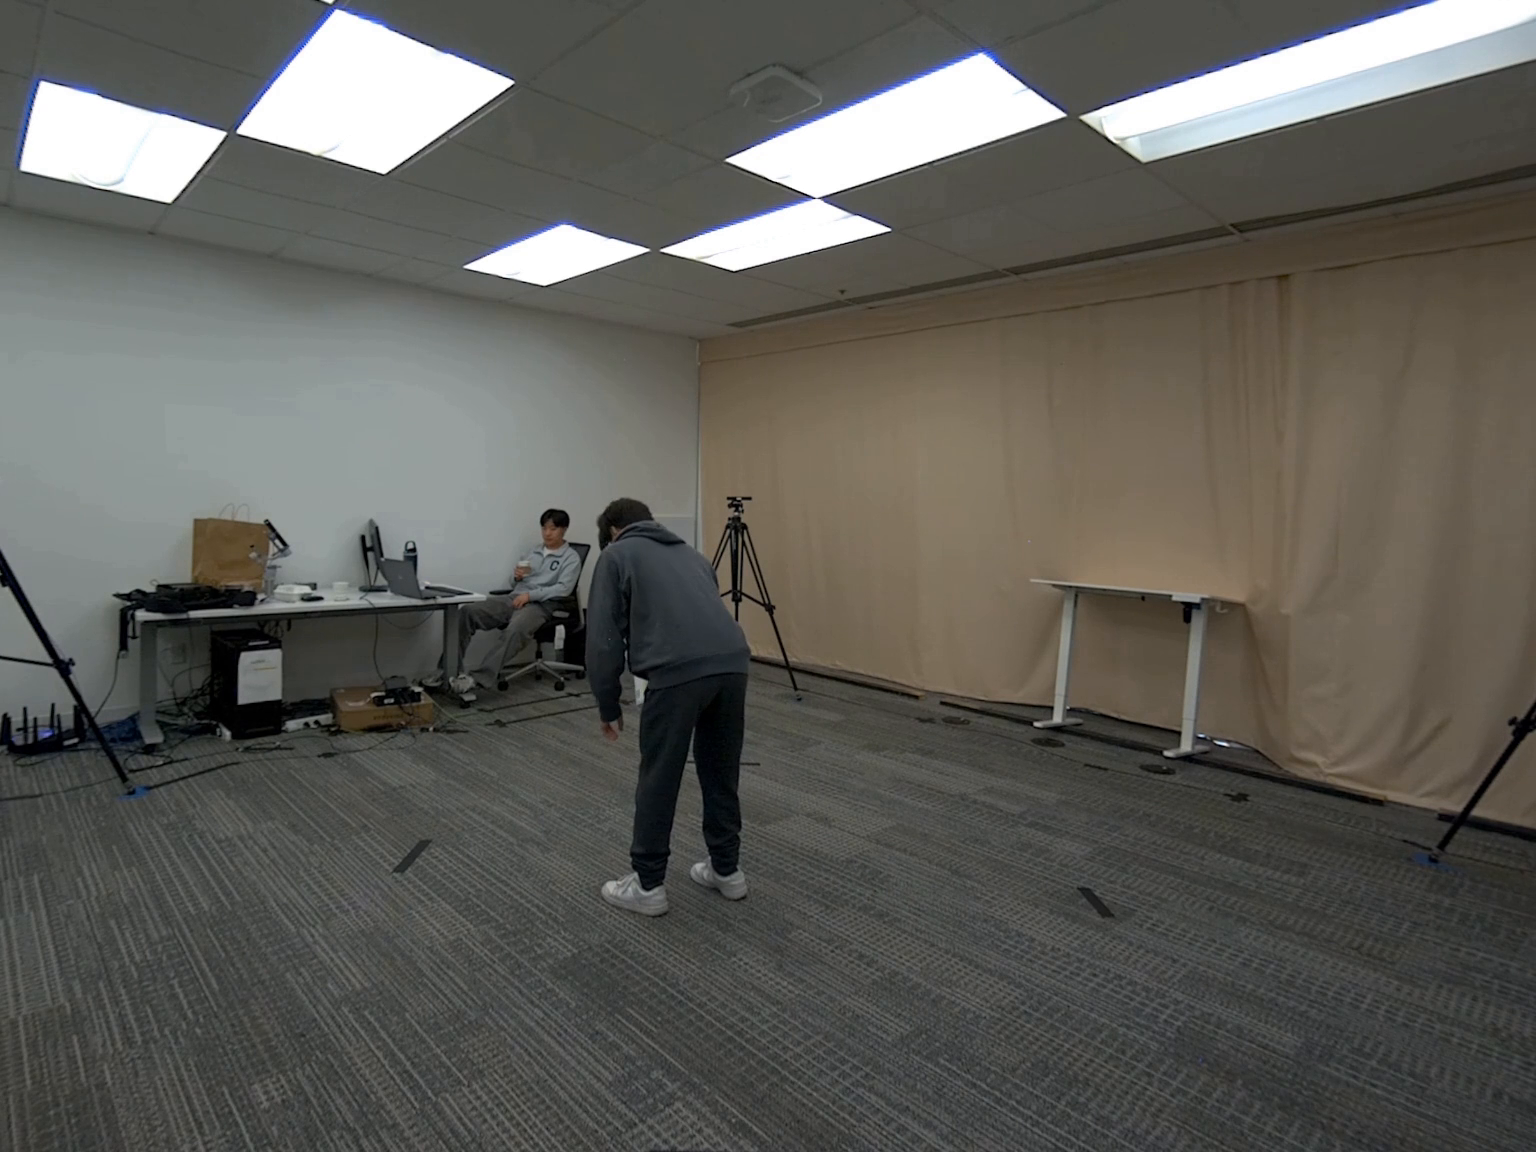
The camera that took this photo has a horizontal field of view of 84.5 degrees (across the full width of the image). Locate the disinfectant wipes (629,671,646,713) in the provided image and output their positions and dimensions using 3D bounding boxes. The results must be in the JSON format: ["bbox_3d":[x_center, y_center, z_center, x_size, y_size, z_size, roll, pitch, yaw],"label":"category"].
[{"bbox_3d":[-0.478,0.408,3.325,0.117,0.221,0.116,-6,-23,-4],"label":"disinfectant wipes"}]
